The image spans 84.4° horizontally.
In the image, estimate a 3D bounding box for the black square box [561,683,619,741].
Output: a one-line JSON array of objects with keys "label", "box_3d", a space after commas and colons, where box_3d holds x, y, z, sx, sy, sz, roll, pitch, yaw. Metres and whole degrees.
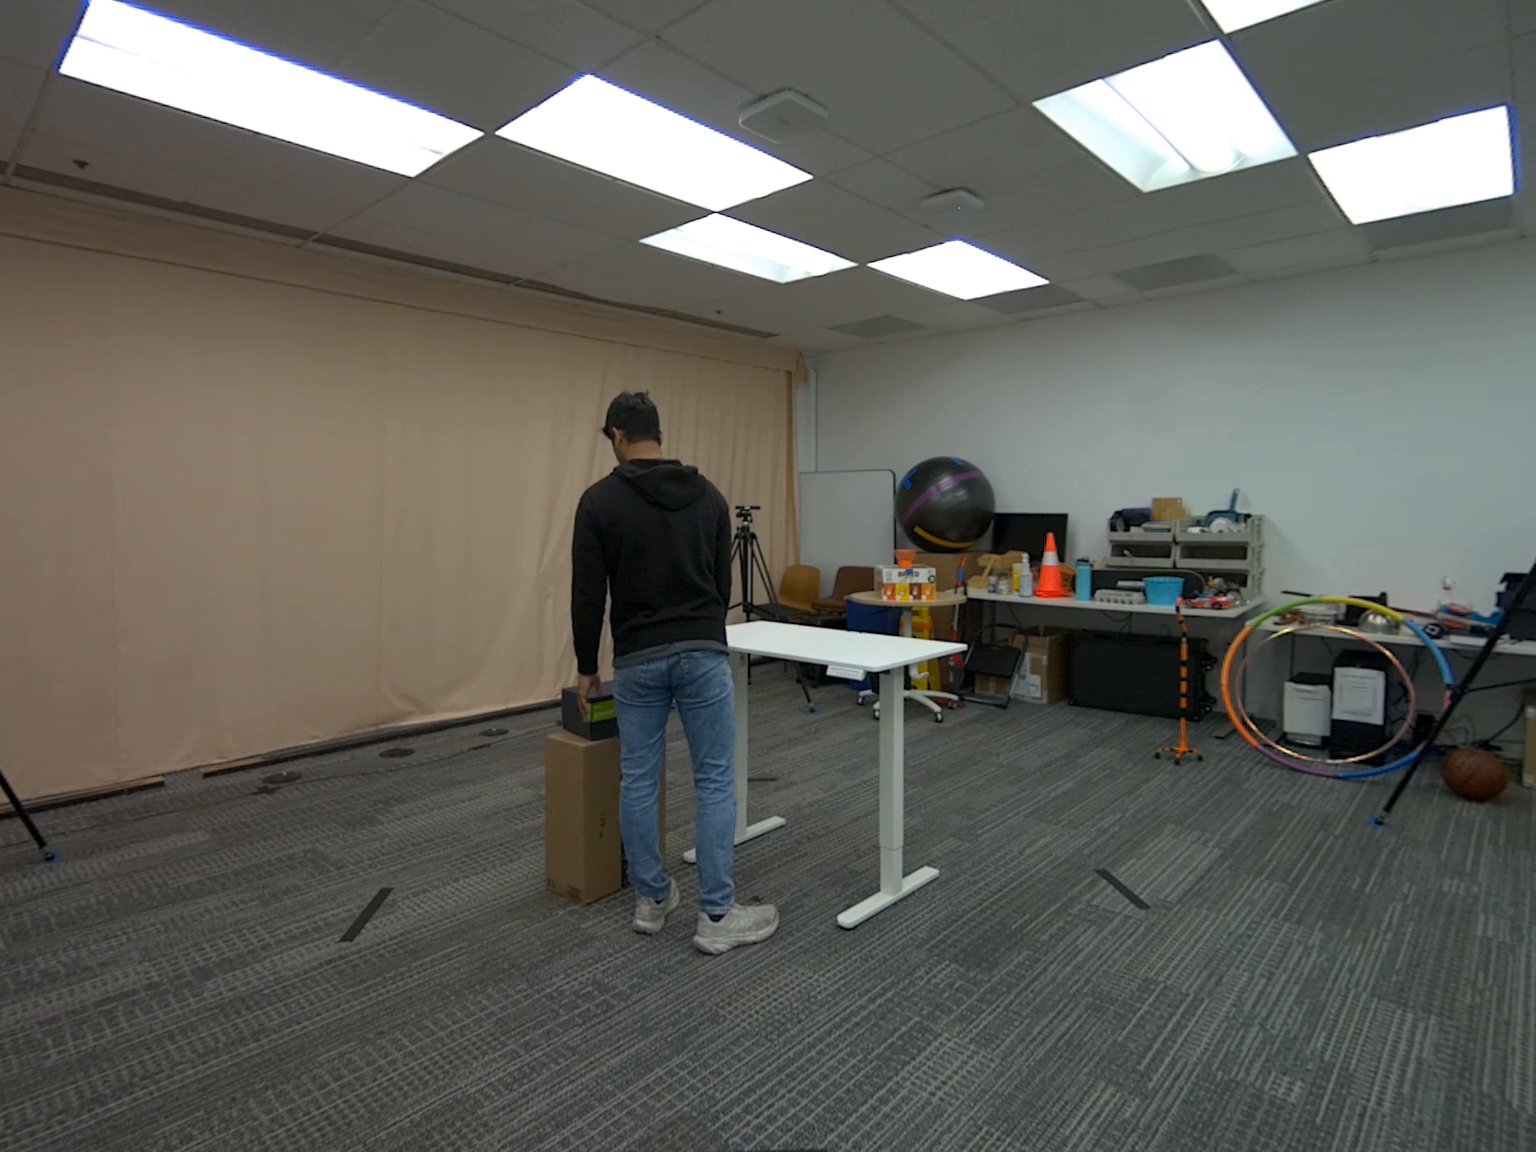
[{"label": "black square box", "box_3d": [-0.612, 0.494, 3.121, 0.221, 0.155, 0.224, -4, 6, -42]}]
